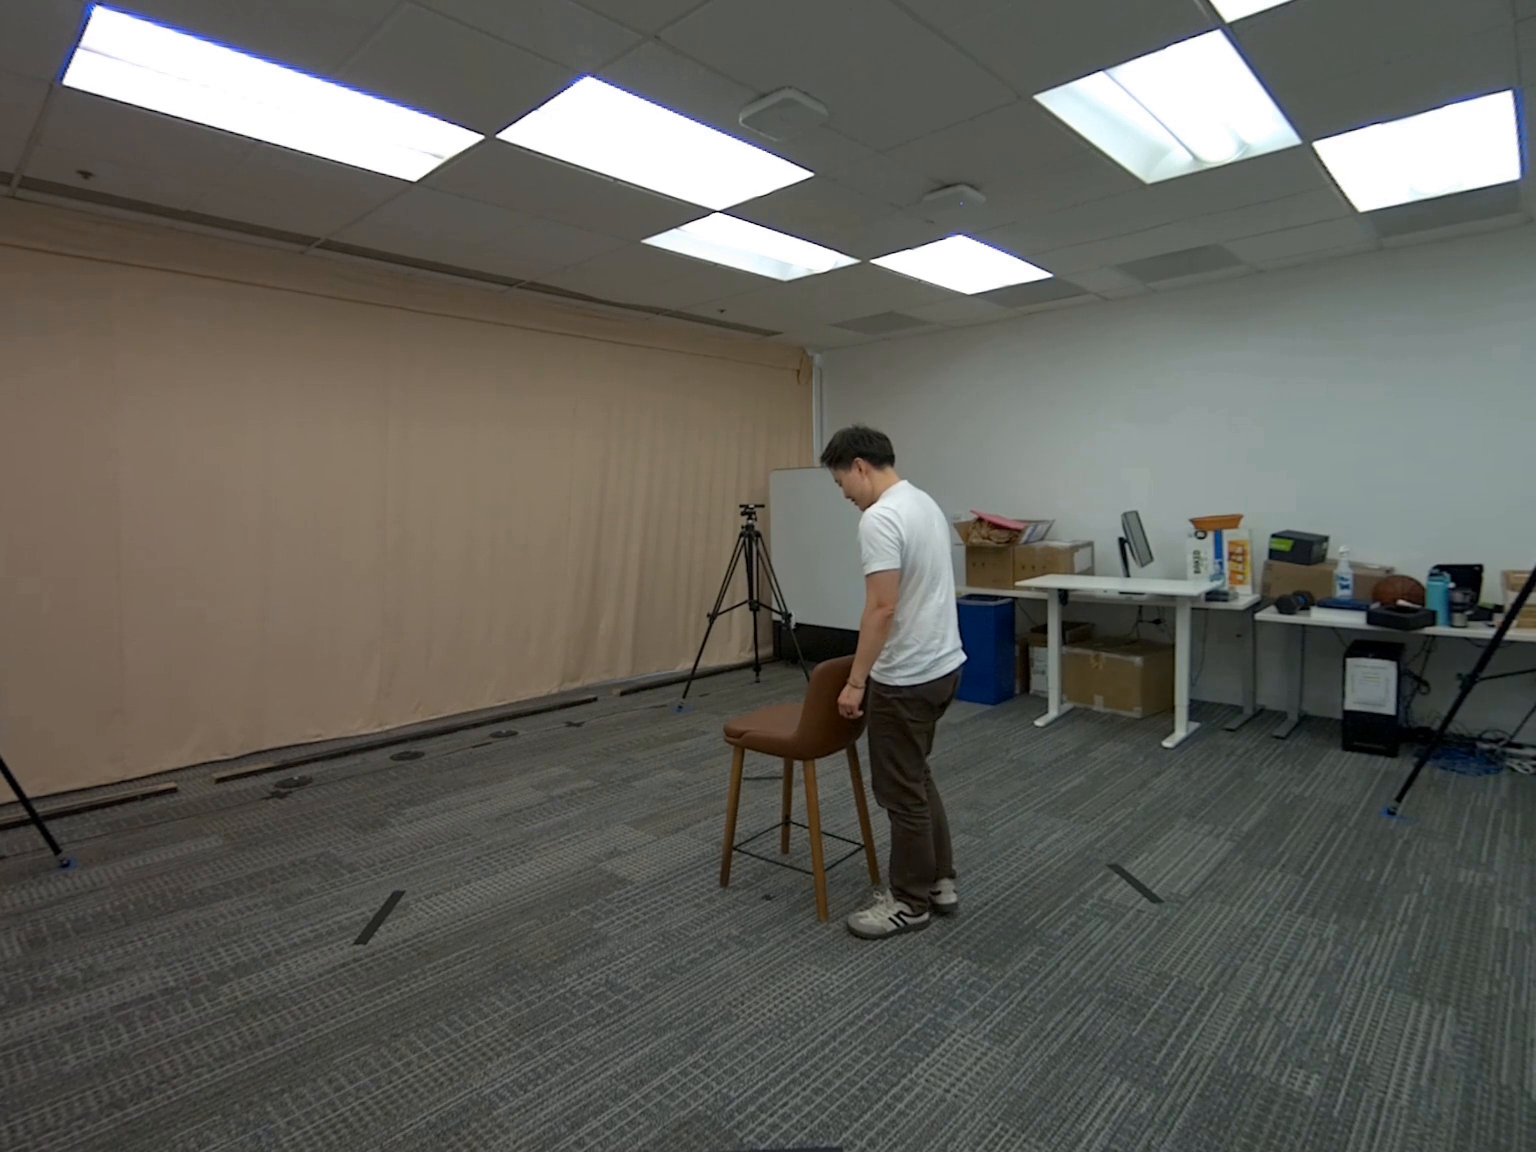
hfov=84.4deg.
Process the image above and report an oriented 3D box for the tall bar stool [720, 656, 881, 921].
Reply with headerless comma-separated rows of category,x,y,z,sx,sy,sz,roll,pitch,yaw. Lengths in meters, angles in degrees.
tall bar stool,0.124,0.691,3.055,0.483,0.887,0.443,5,6,39
